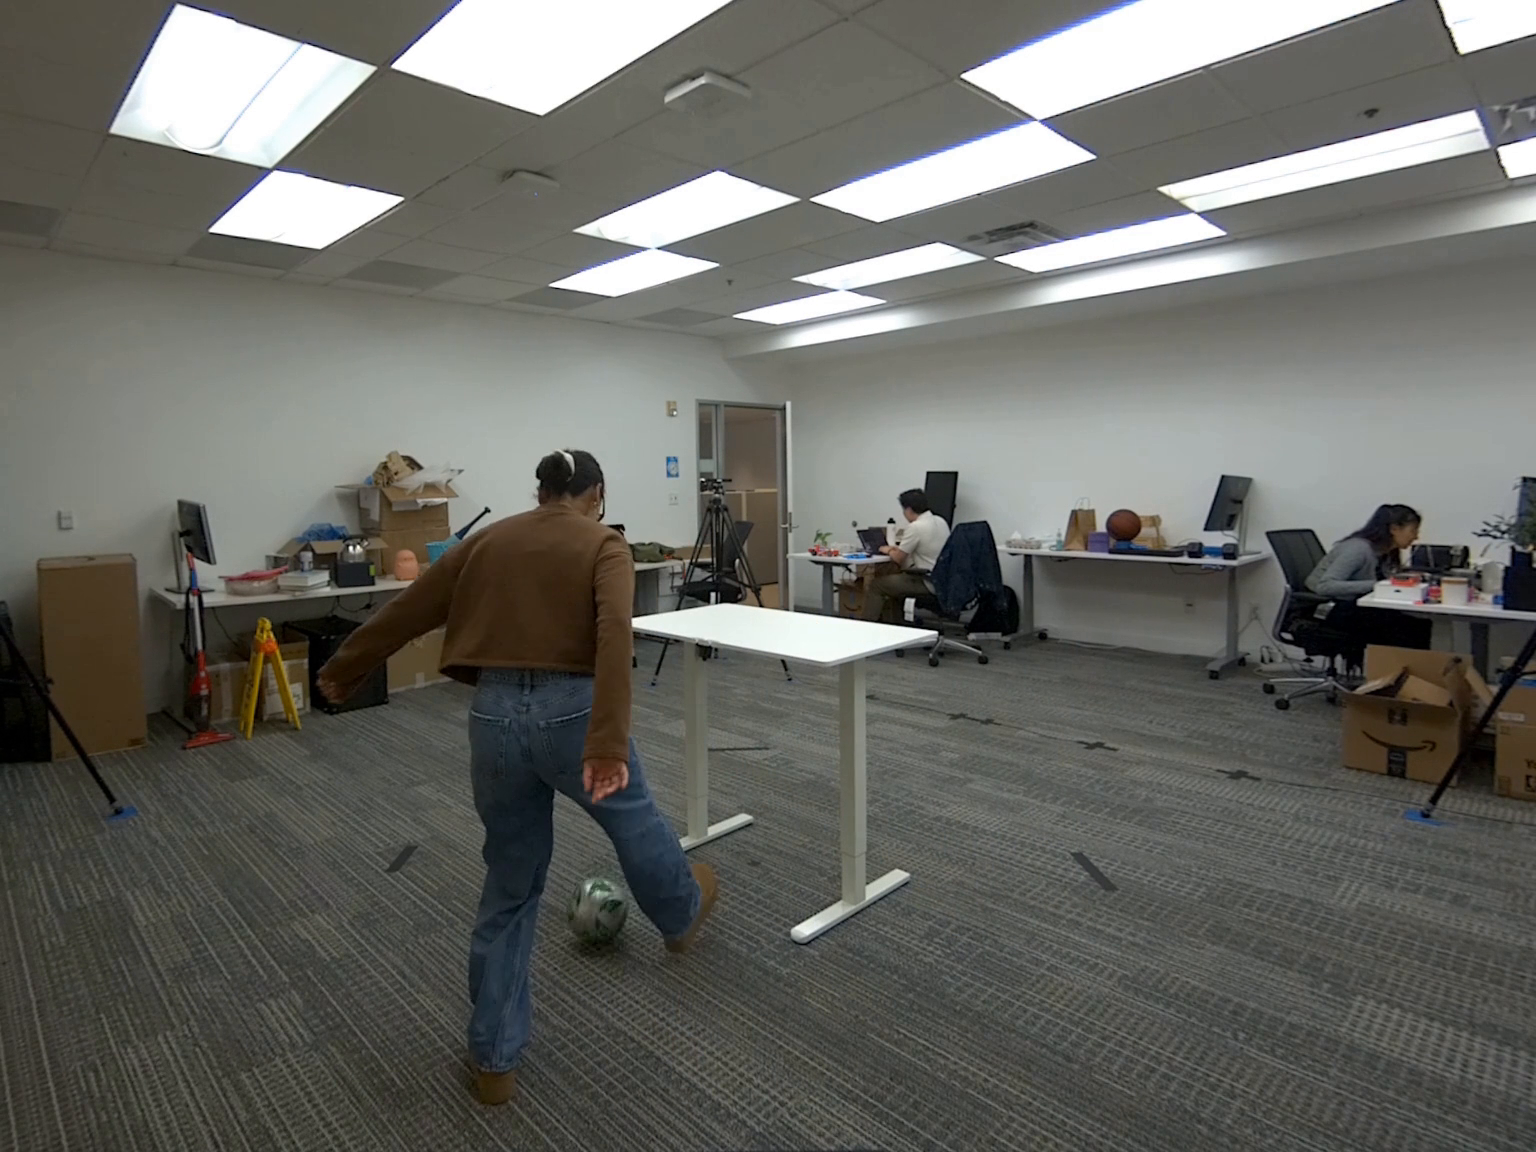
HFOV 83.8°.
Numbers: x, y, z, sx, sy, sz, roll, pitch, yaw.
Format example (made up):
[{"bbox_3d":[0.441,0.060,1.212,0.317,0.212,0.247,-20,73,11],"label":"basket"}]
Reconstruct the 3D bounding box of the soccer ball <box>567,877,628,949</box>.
[{"bbox_3d":[-0.516,1.019,2.564,0.187,0.187,0.188,-1,5,-2],"label":"soccer ball"}]
